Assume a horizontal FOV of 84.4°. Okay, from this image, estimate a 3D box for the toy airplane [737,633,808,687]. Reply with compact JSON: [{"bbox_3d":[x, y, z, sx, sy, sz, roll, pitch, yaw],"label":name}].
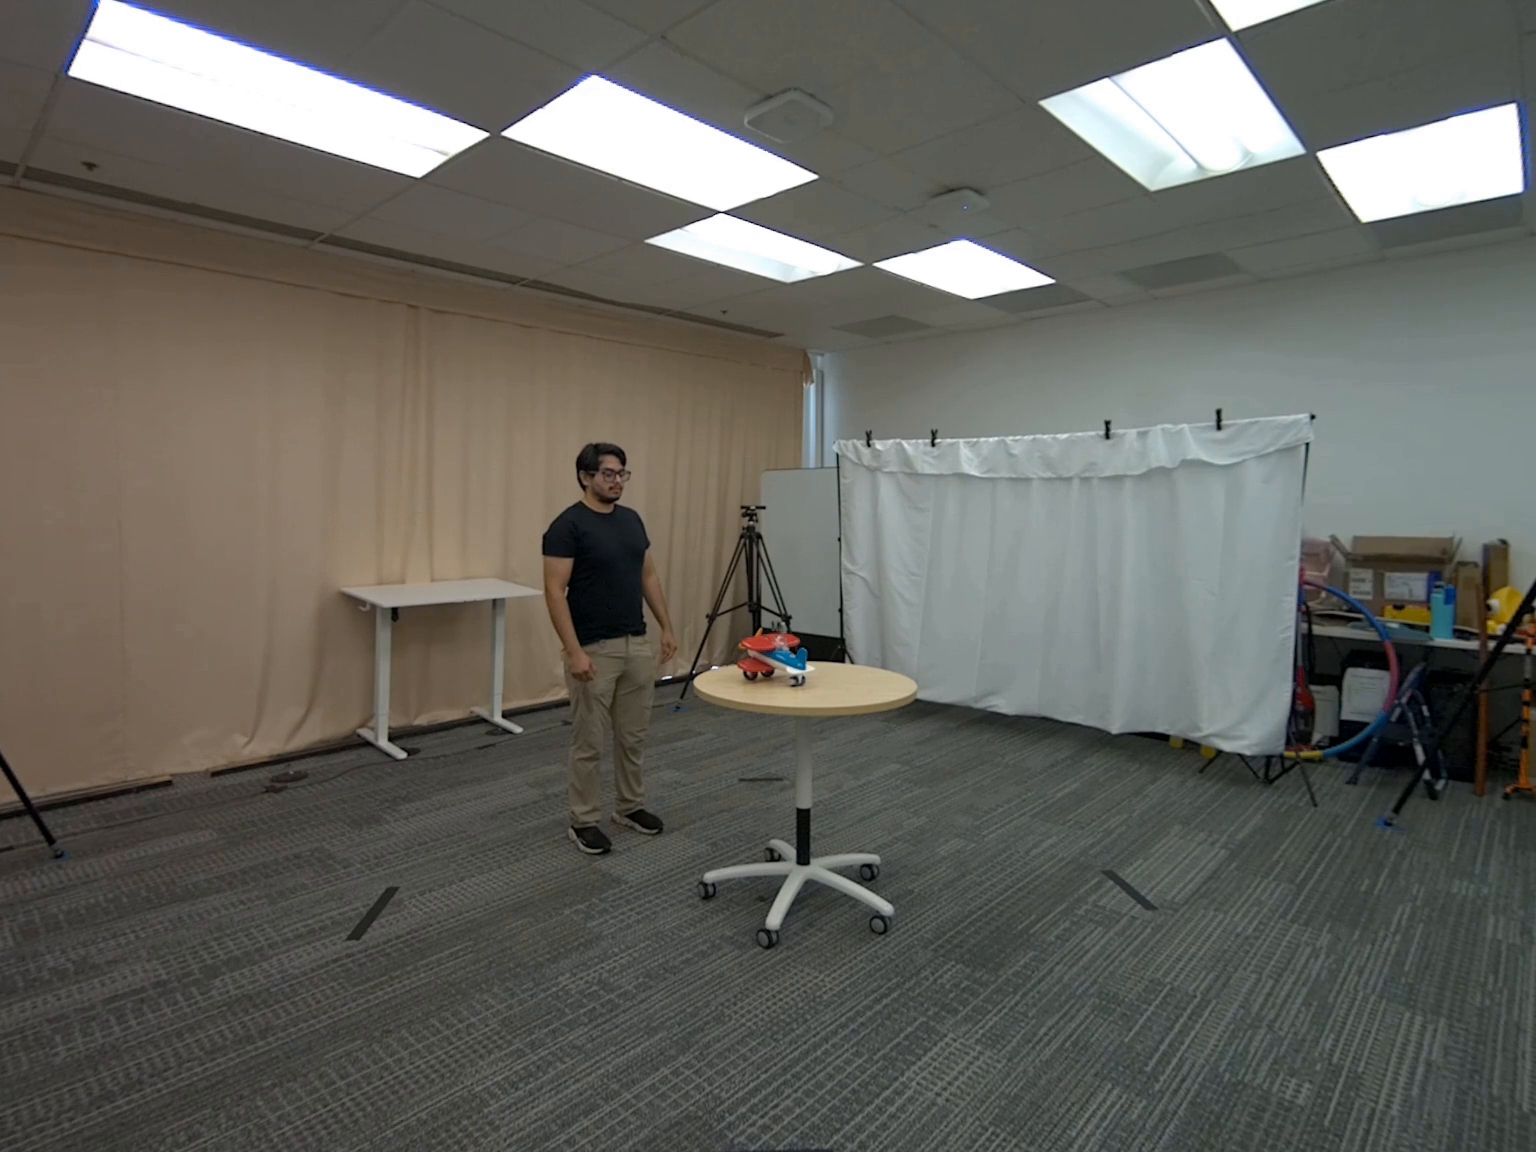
[{"bbox_3d":[0.045,0.289,2.929,0.264,0.156,0.247,0,4,18],"label":"toy airplane"}]
